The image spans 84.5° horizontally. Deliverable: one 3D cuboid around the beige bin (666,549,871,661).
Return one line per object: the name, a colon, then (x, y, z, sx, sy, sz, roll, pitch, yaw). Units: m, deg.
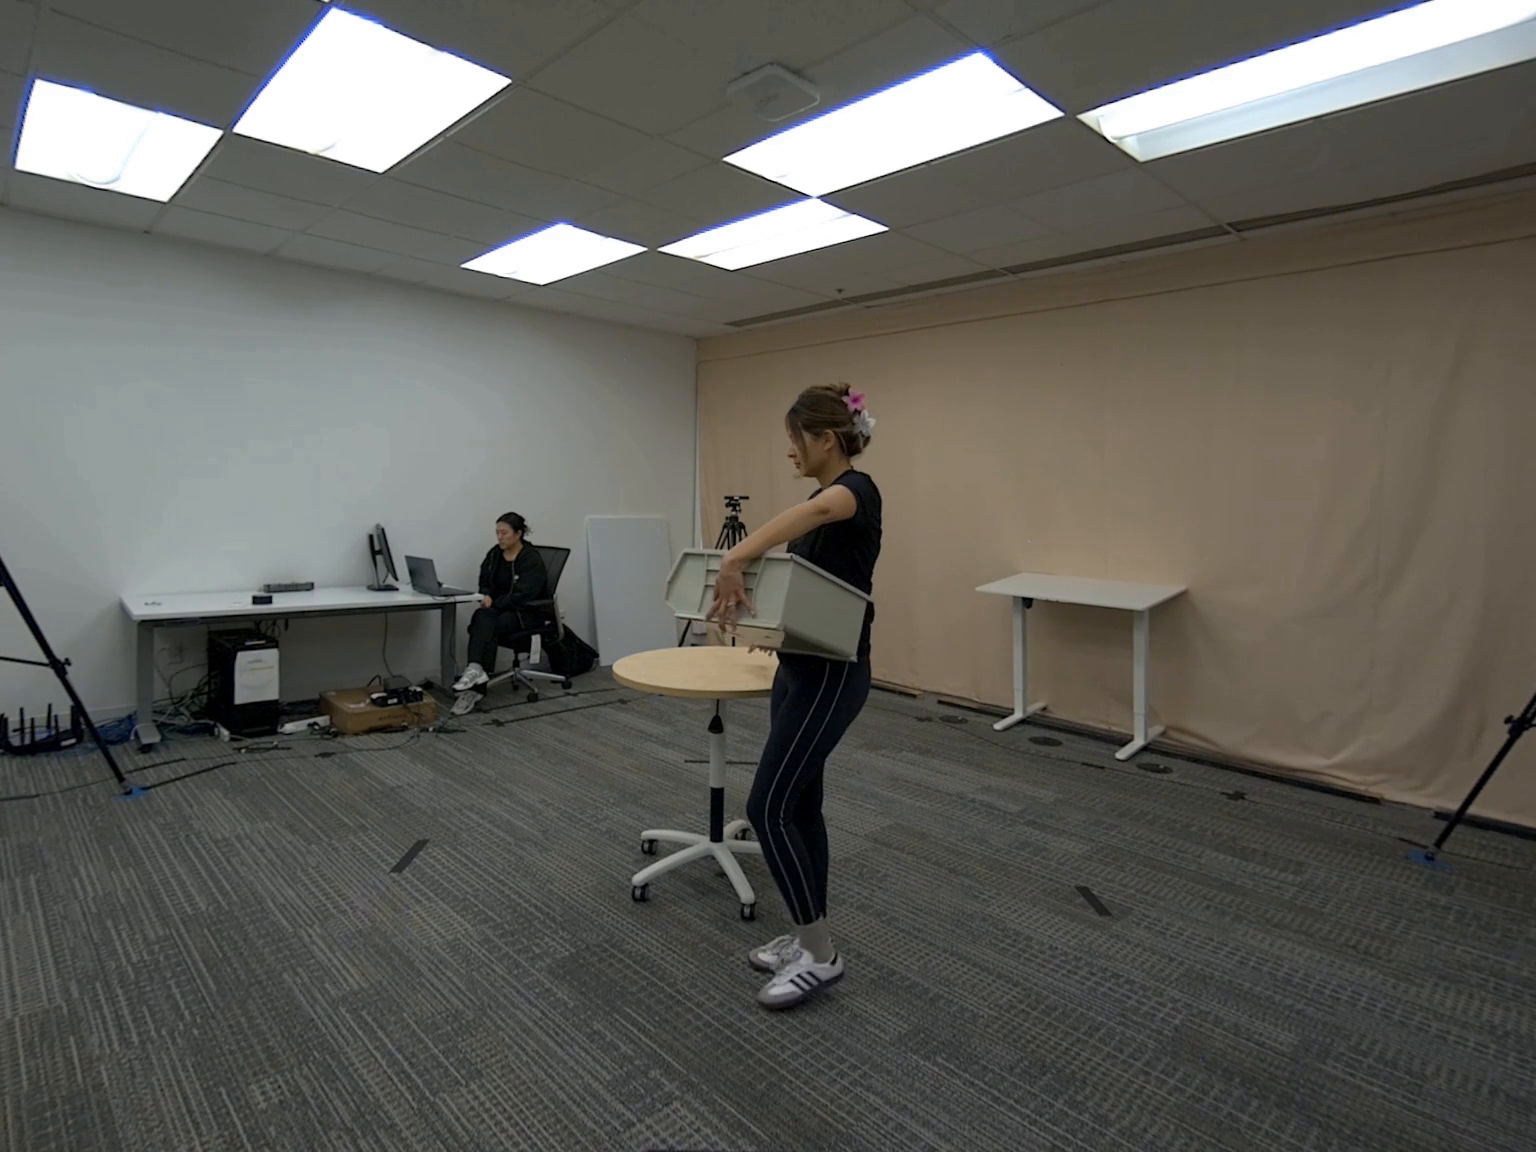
beige bin: (-0.004, 0.081, 2.215, 0.387, 0.190, 0.409, 6, -13, 36)
